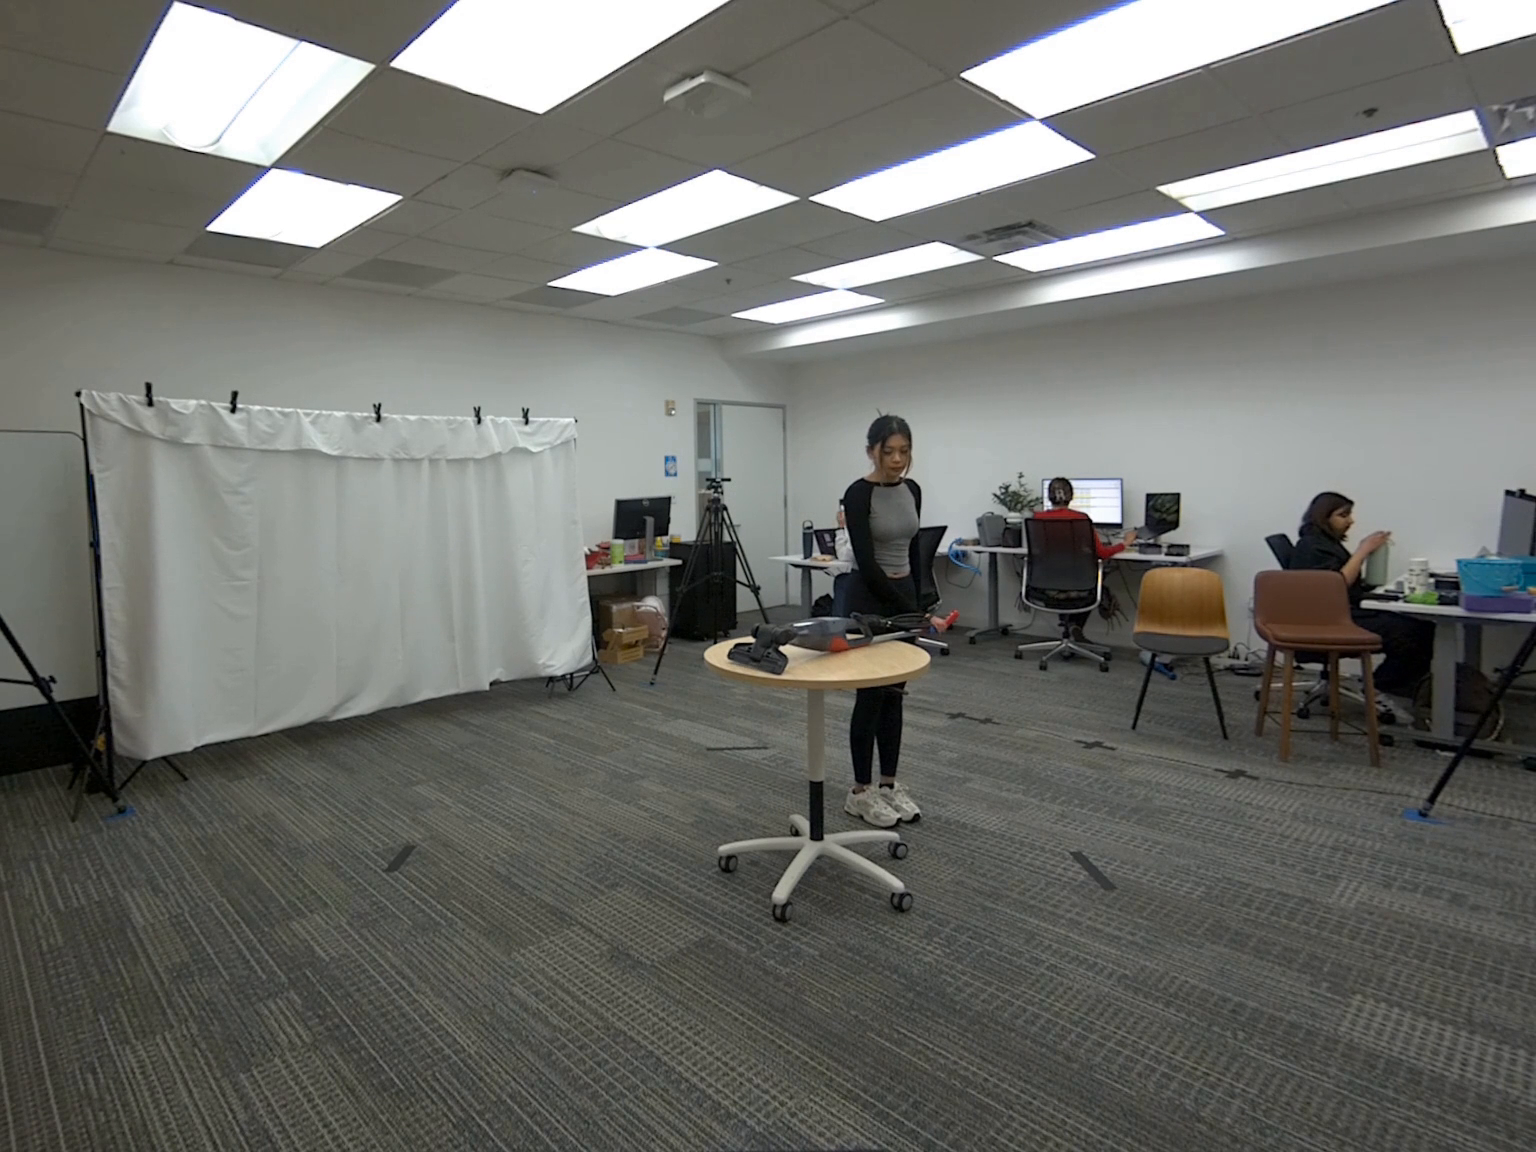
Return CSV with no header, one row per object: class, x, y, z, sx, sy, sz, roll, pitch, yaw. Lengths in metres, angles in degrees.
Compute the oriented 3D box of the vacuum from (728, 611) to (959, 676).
vacuum,0.351,0.192,3.054,1.022,0.143,0.261,-6,11,-41
